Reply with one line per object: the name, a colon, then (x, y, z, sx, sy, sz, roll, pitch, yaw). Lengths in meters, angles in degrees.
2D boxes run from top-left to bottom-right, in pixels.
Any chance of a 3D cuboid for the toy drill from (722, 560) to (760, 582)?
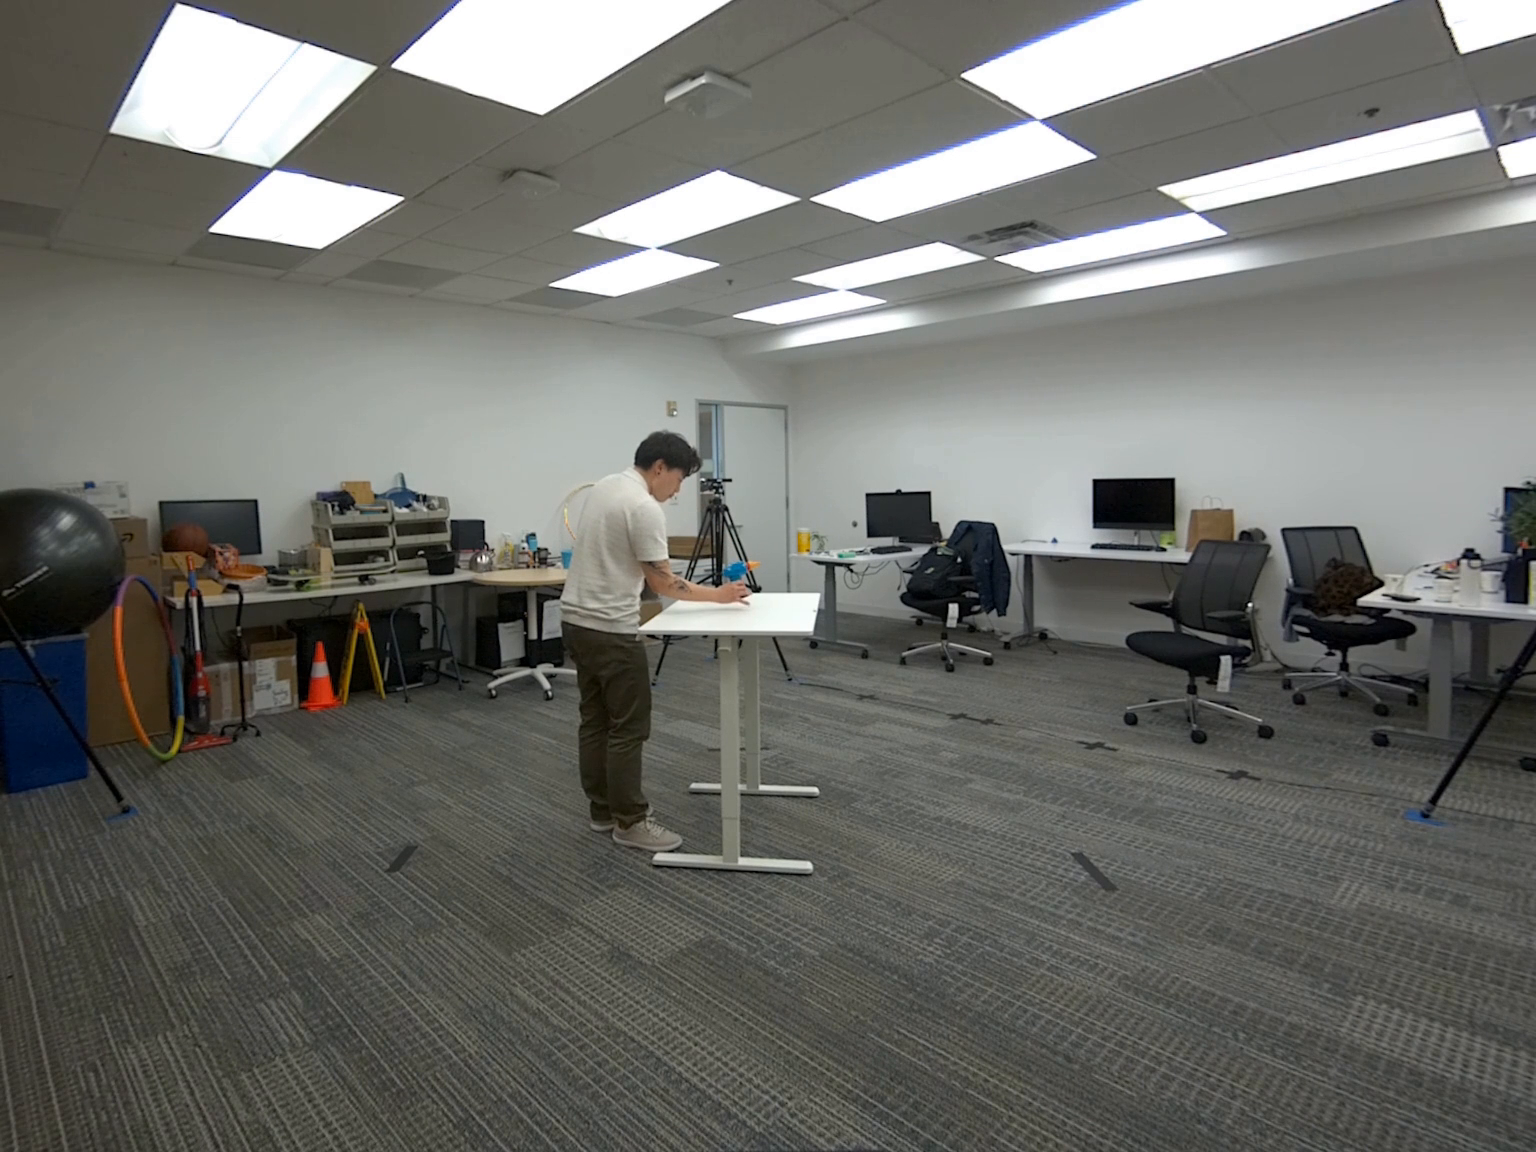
toy drill: (-0.100, 0.008, 3.403, 0.167, 0.145, 0.062, -15, 6, -19)
